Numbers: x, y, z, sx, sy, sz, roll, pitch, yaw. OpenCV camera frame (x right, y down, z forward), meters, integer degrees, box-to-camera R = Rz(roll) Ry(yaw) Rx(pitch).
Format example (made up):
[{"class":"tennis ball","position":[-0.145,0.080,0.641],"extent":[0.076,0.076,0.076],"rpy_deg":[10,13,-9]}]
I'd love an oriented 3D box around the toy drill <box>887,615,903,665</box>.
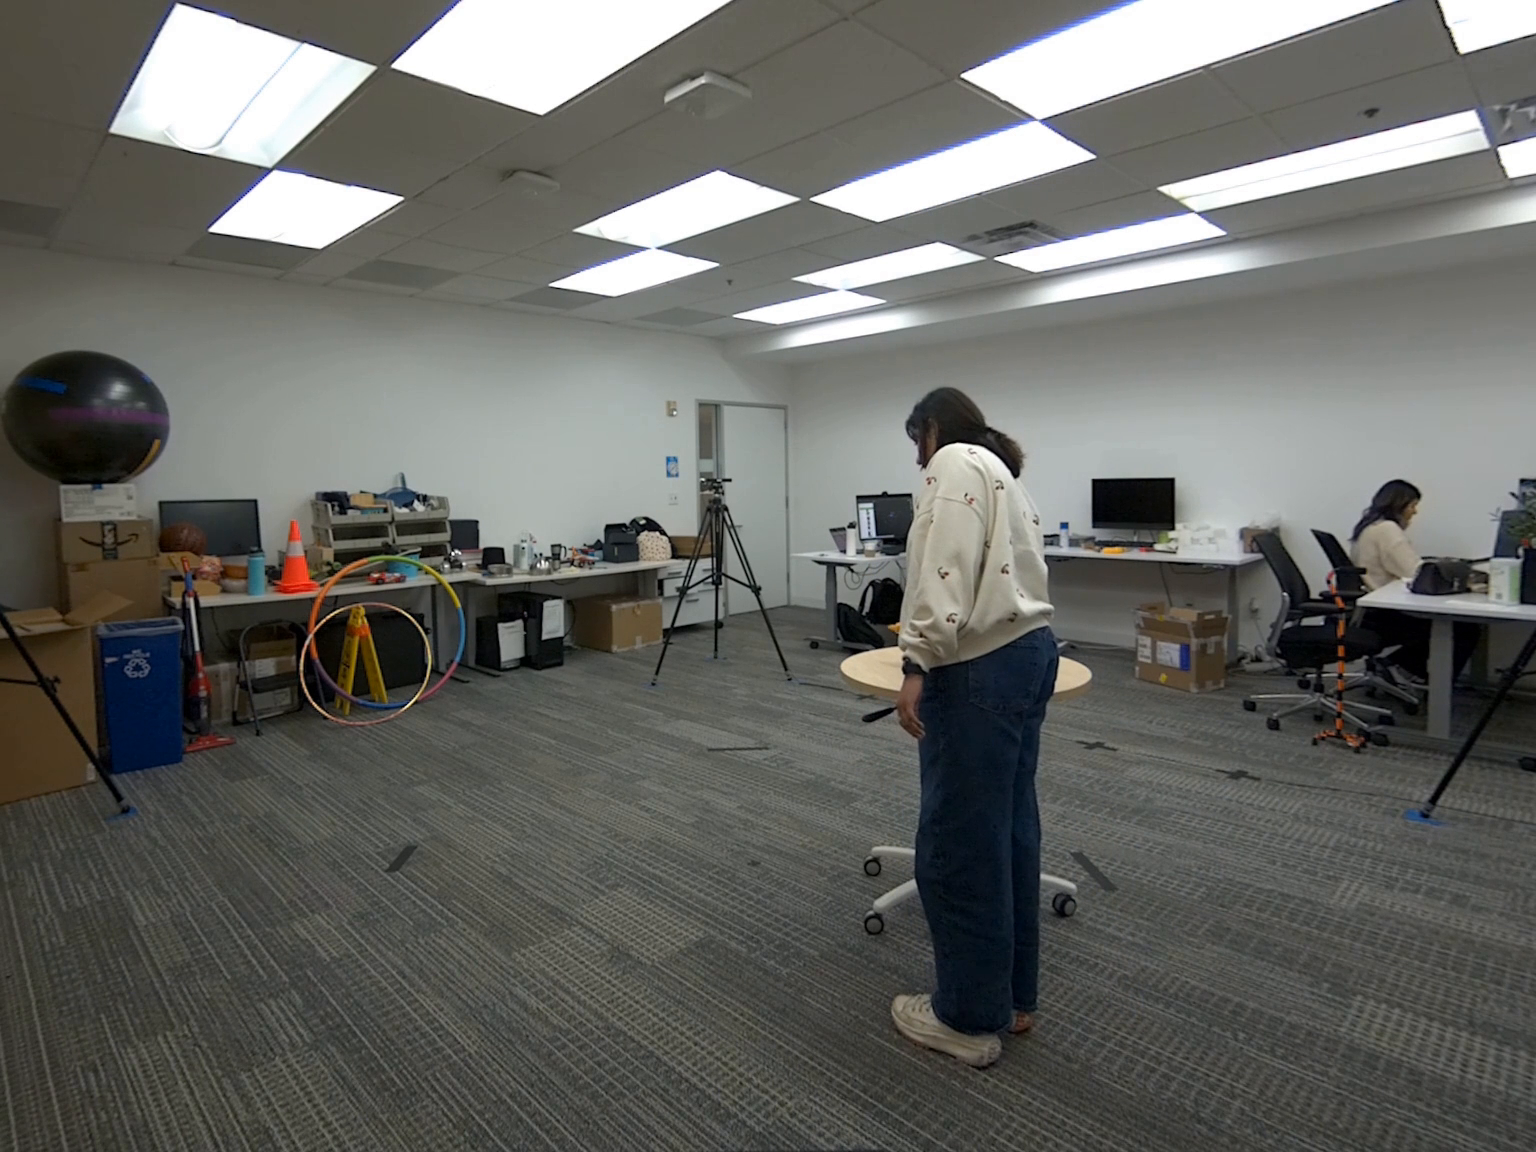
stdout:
[{"class":"toy drill","position":[0.476,0.214,2.804],"extent":[0.059,0.145,0.175],"rpy_deg":[-5,7,-43]}]
